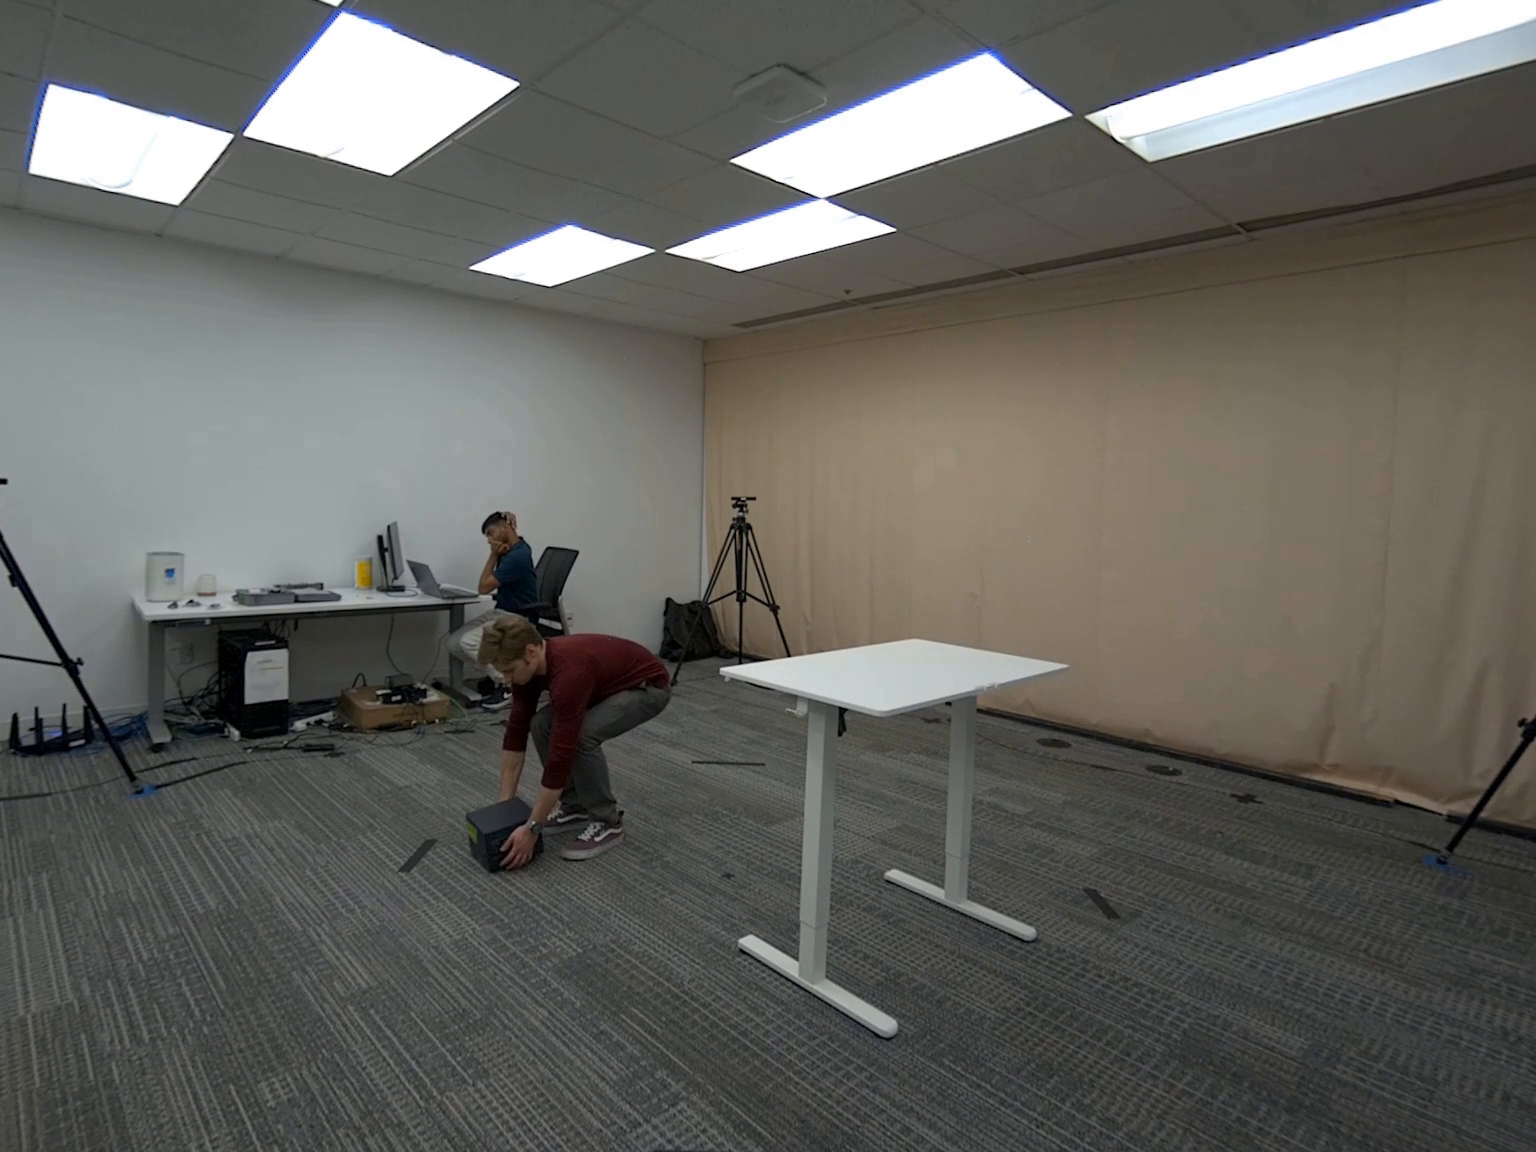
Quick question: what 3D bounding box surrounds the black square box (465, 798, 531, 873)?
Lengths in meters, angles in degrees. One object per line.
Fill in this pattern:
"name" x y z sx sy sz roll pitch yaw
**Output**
"black square box" -1.018 0.976 3.217 0.213 0.154 0.234 -11 14 -35
